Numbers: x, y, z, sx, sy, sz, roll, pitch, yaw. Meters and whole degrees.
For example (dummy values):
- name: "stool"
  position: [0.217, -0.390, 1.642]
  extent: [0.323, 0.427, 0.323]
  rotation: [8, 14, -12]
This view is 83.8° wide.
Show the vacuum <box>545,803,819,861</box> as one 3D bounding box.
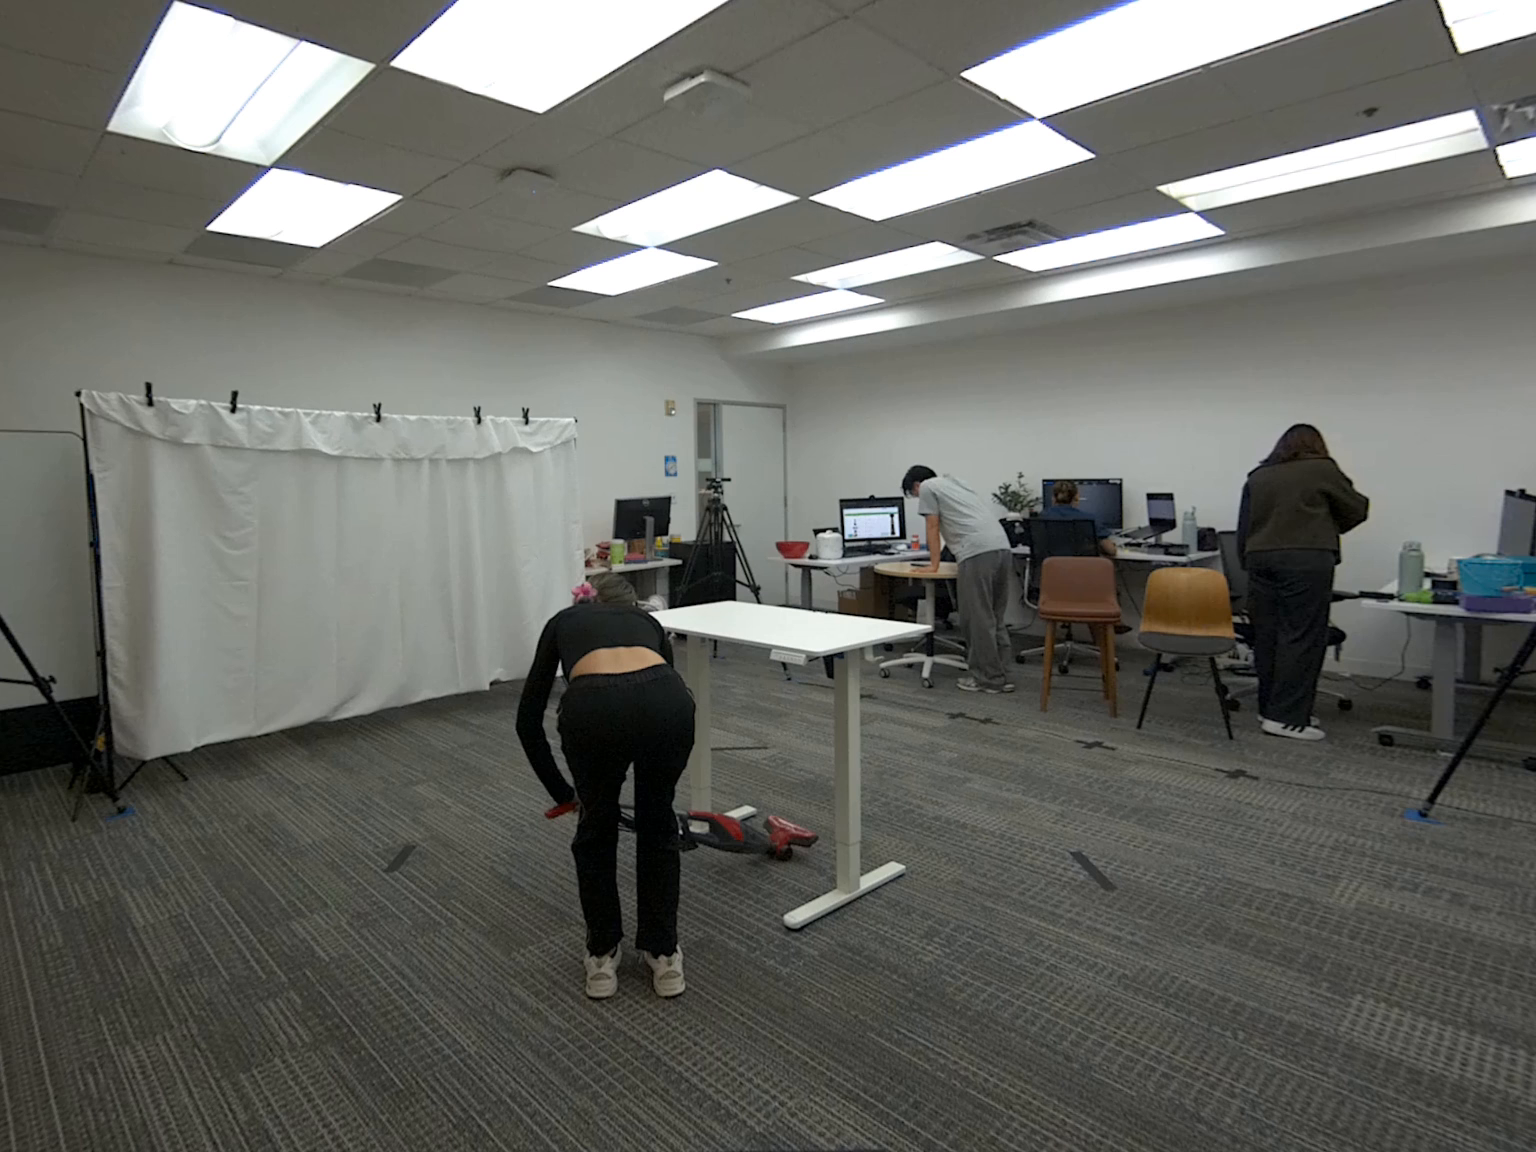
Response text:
- name: "vacuum"
  position: [-0.283, 0.851, 2.865]
  extent: [1.012, 0.144, 0.261]
  rotation: [20, -7, -41]
